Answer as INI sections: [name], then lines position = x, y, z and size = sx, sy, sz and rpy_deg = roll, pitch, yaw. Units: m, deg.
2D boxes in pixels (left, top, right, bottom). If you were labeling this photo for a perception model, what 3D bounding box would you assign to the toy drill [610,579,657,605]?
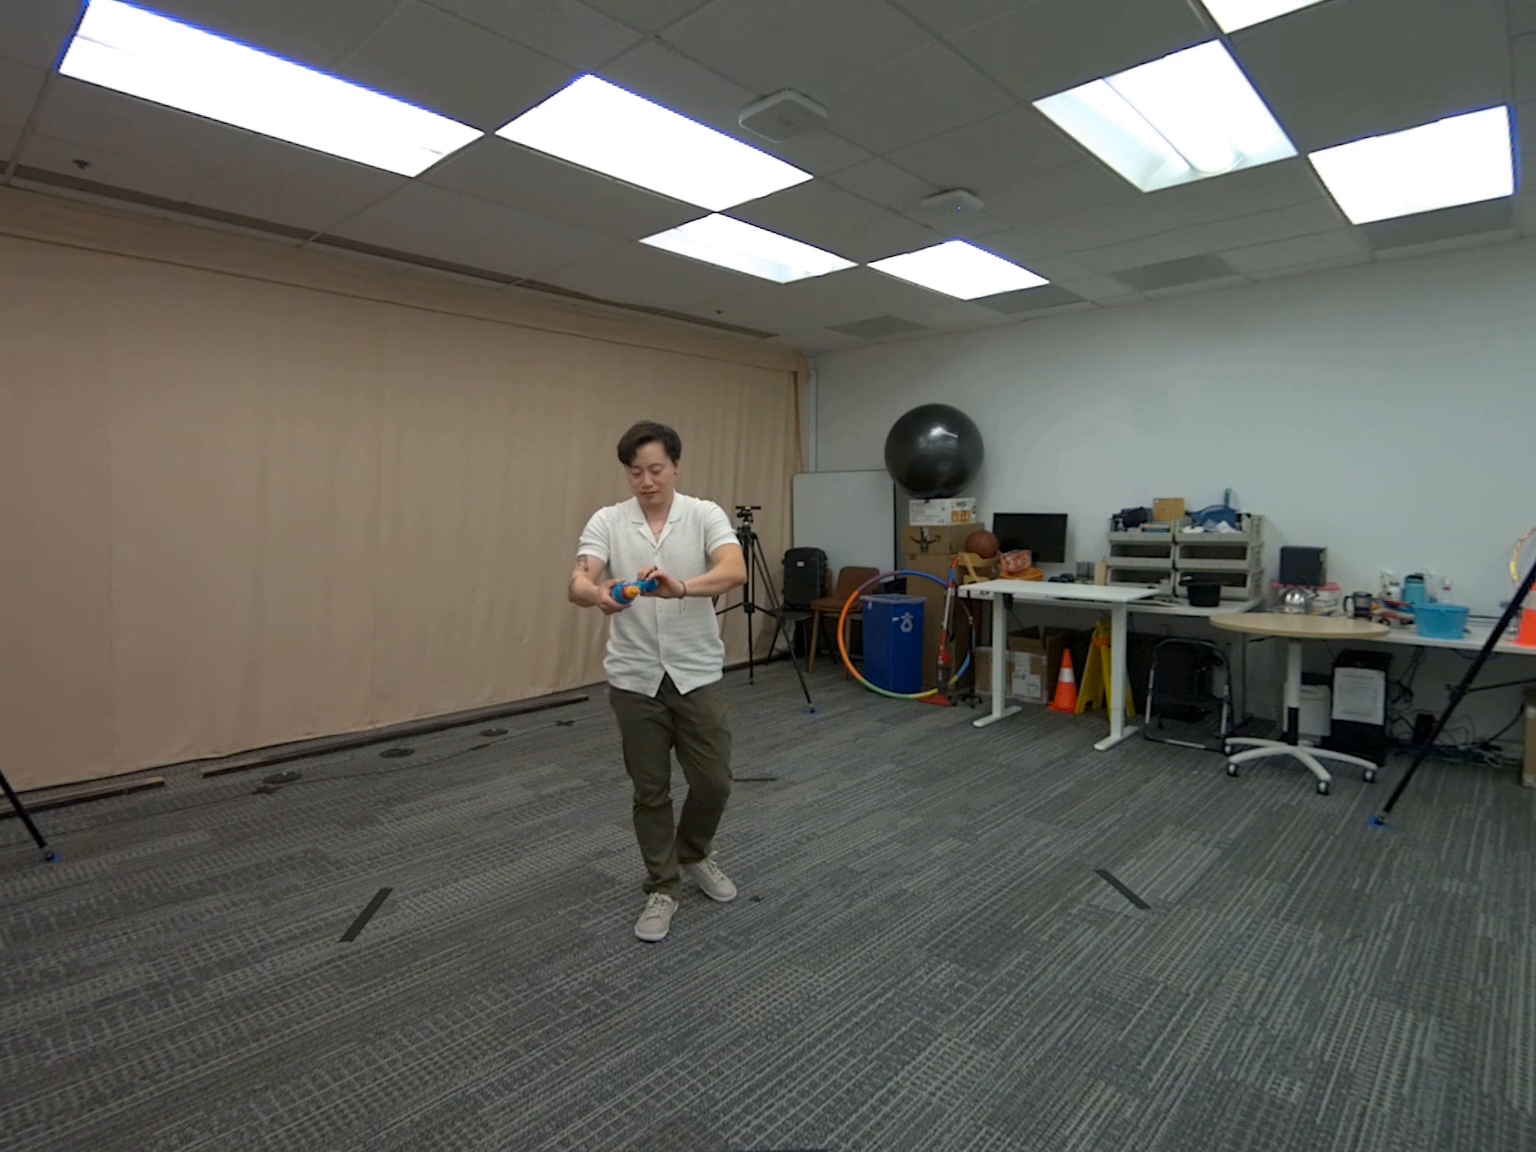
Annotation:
[toy drill]
position = -0.380, 0.034, 2.388
size = 0.143, 0.061, 0.174
rpy_deg = -23, 8, -32
